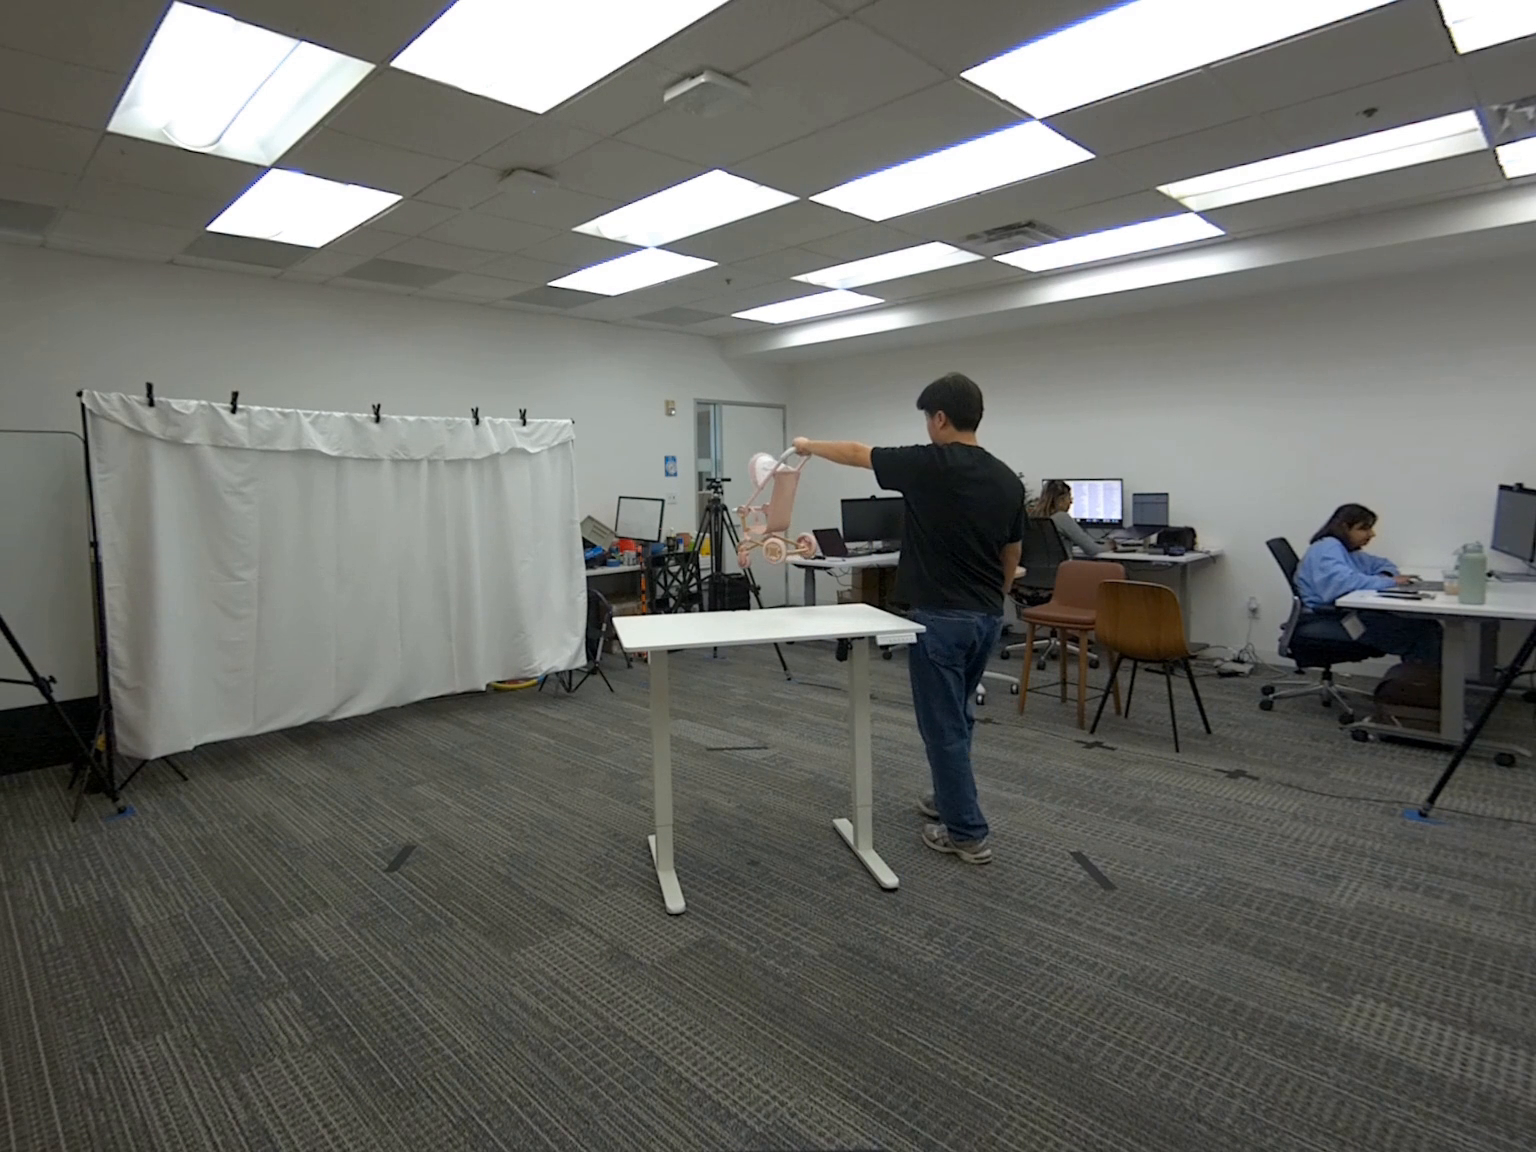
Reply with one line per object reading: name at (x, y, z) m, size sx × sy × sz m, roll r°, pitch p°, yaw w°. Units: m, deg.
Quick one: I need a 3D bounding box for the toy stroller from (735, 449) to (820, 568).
toy stroller at (0.013, -0.280, 3.602) m, size 0.352 × 0.531 × 0.274 m, roll 6°, pitch 9°, yaw 39°
